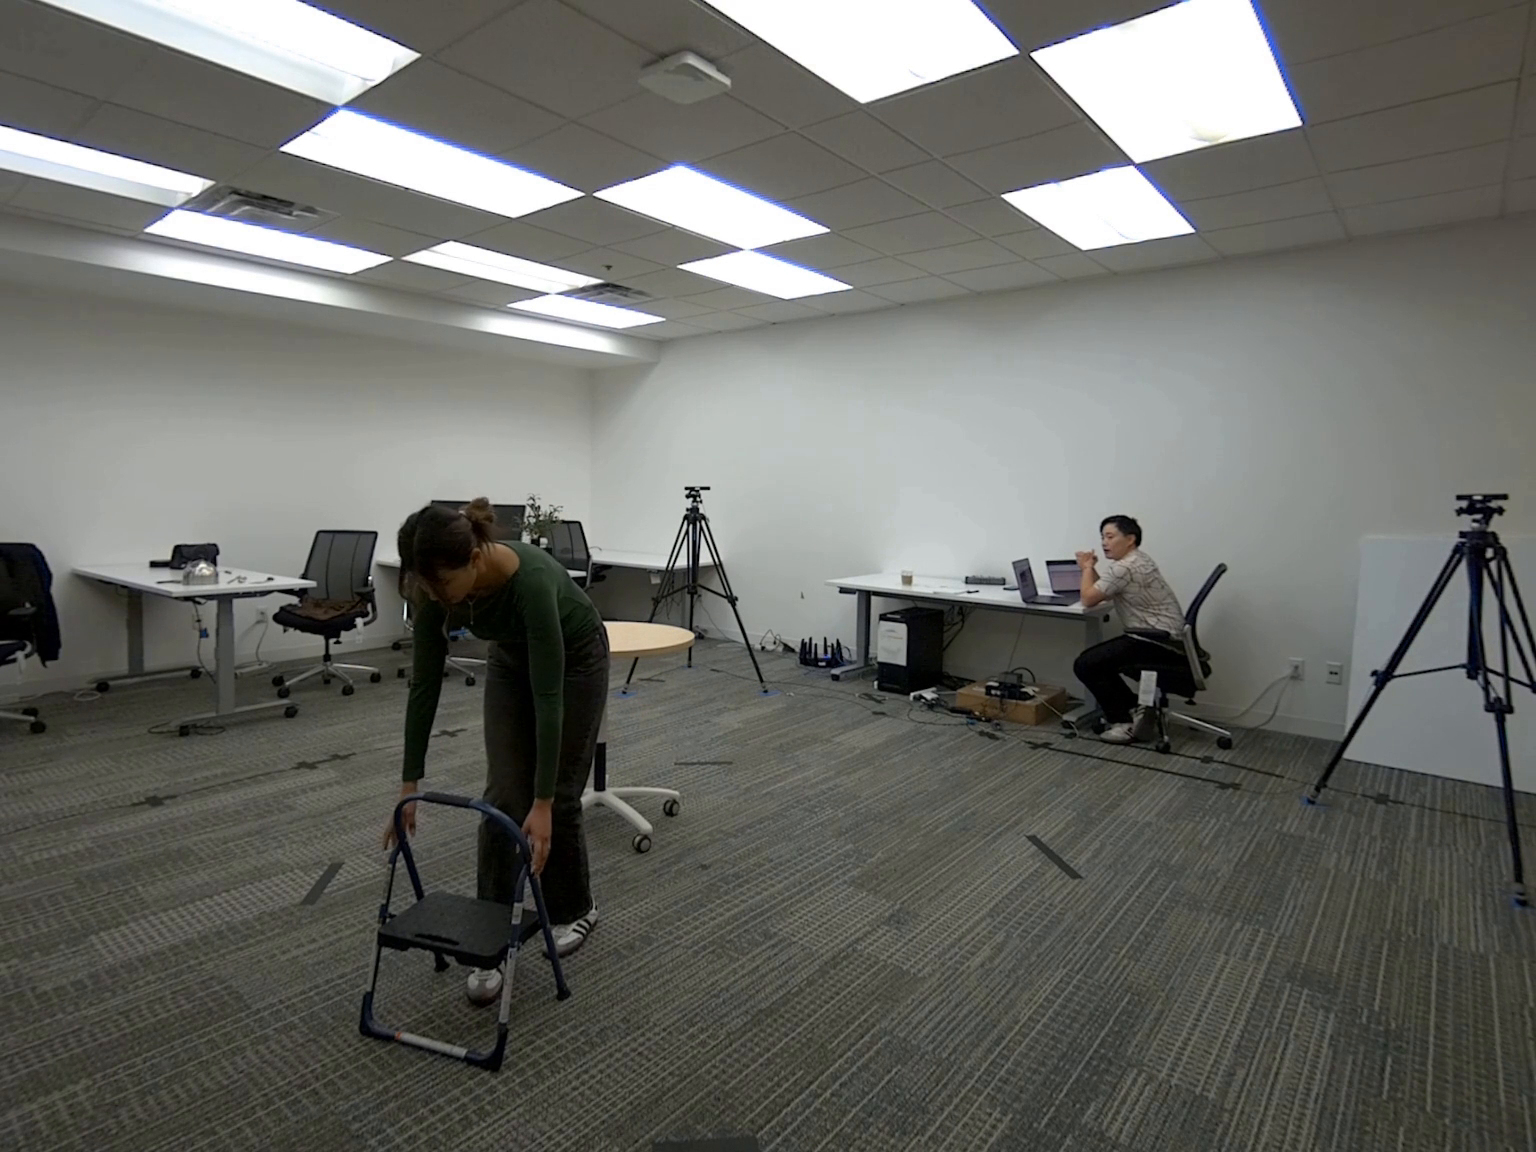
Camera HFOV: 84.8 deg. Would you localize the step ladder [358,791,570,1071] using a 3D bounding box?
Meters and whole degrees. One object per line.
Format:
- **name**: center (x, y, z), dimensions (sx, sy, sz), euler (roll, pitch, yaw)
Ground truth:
- **step ladder**: center (-0.796, 0.844, 2.220), dimensions (0.439, 0.604, 0.344), euler (2, 4, 18)
